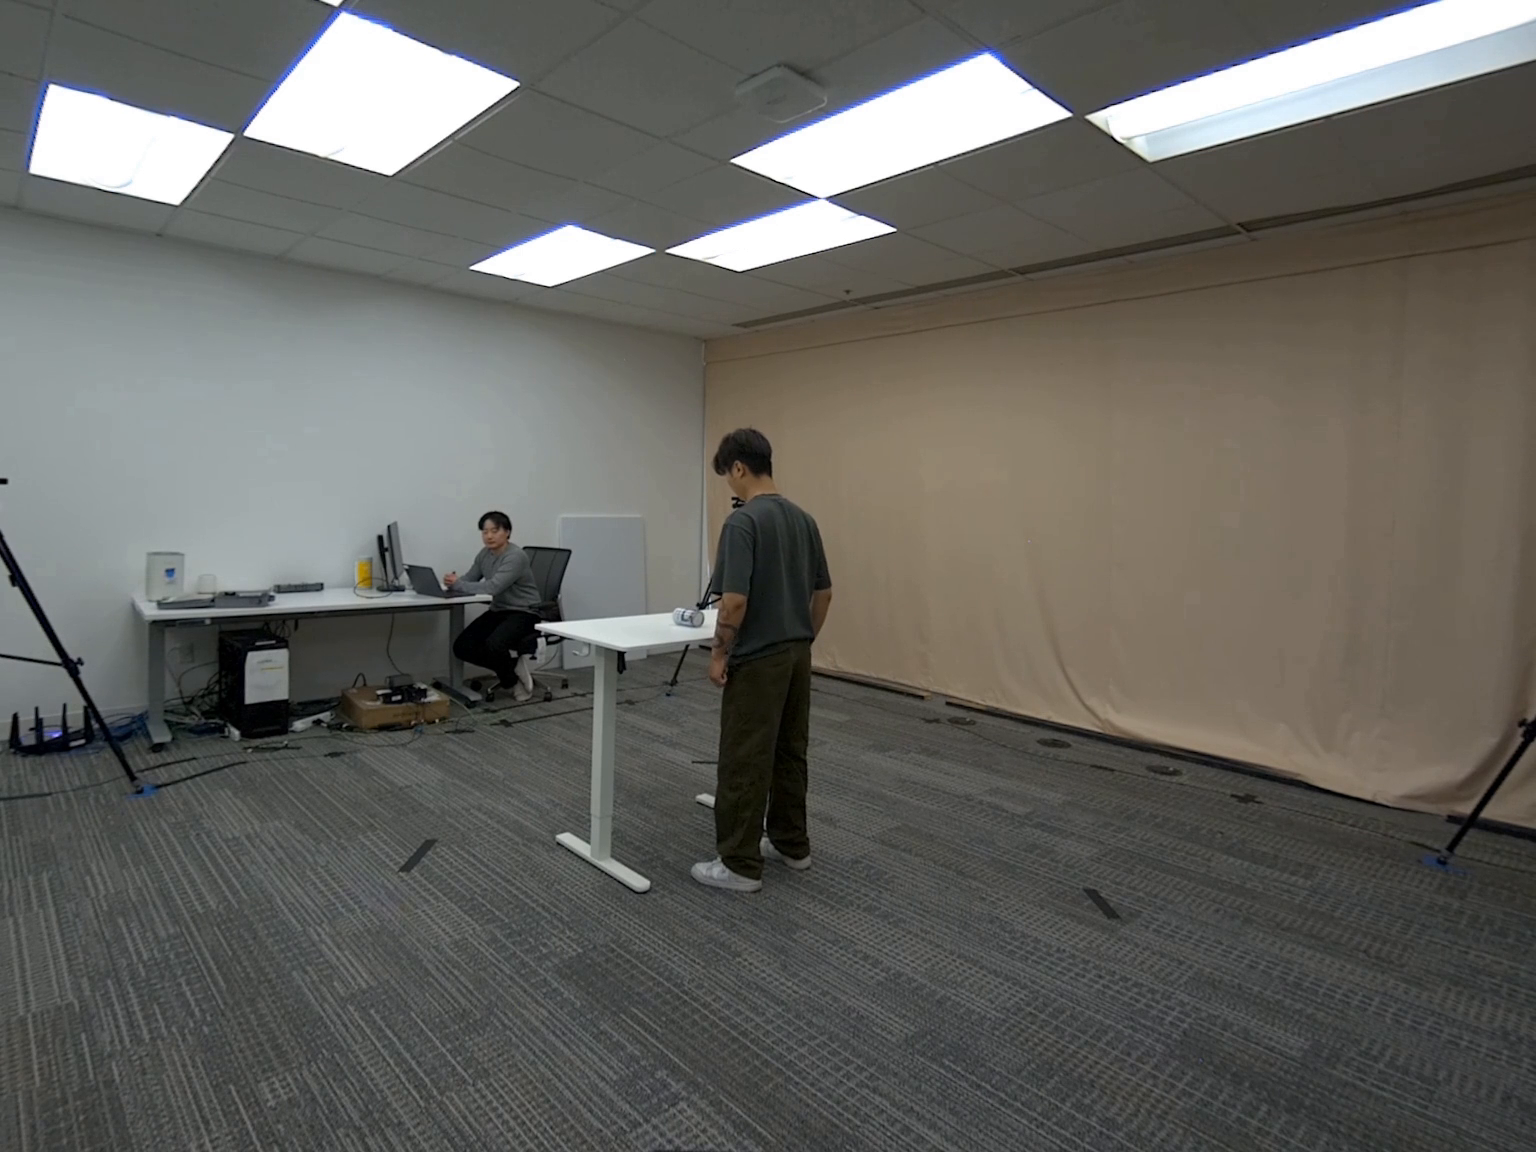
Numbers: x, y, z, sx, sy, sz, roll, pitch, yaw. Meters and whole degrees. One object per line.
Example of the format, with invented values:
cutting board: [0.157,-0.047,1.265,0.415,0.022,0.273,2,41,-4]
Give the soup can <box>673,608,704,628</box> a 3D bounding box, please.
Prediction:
soup can: [-0.319,0.162,3.363,0.124,0.067,0.065,4,5,39]
